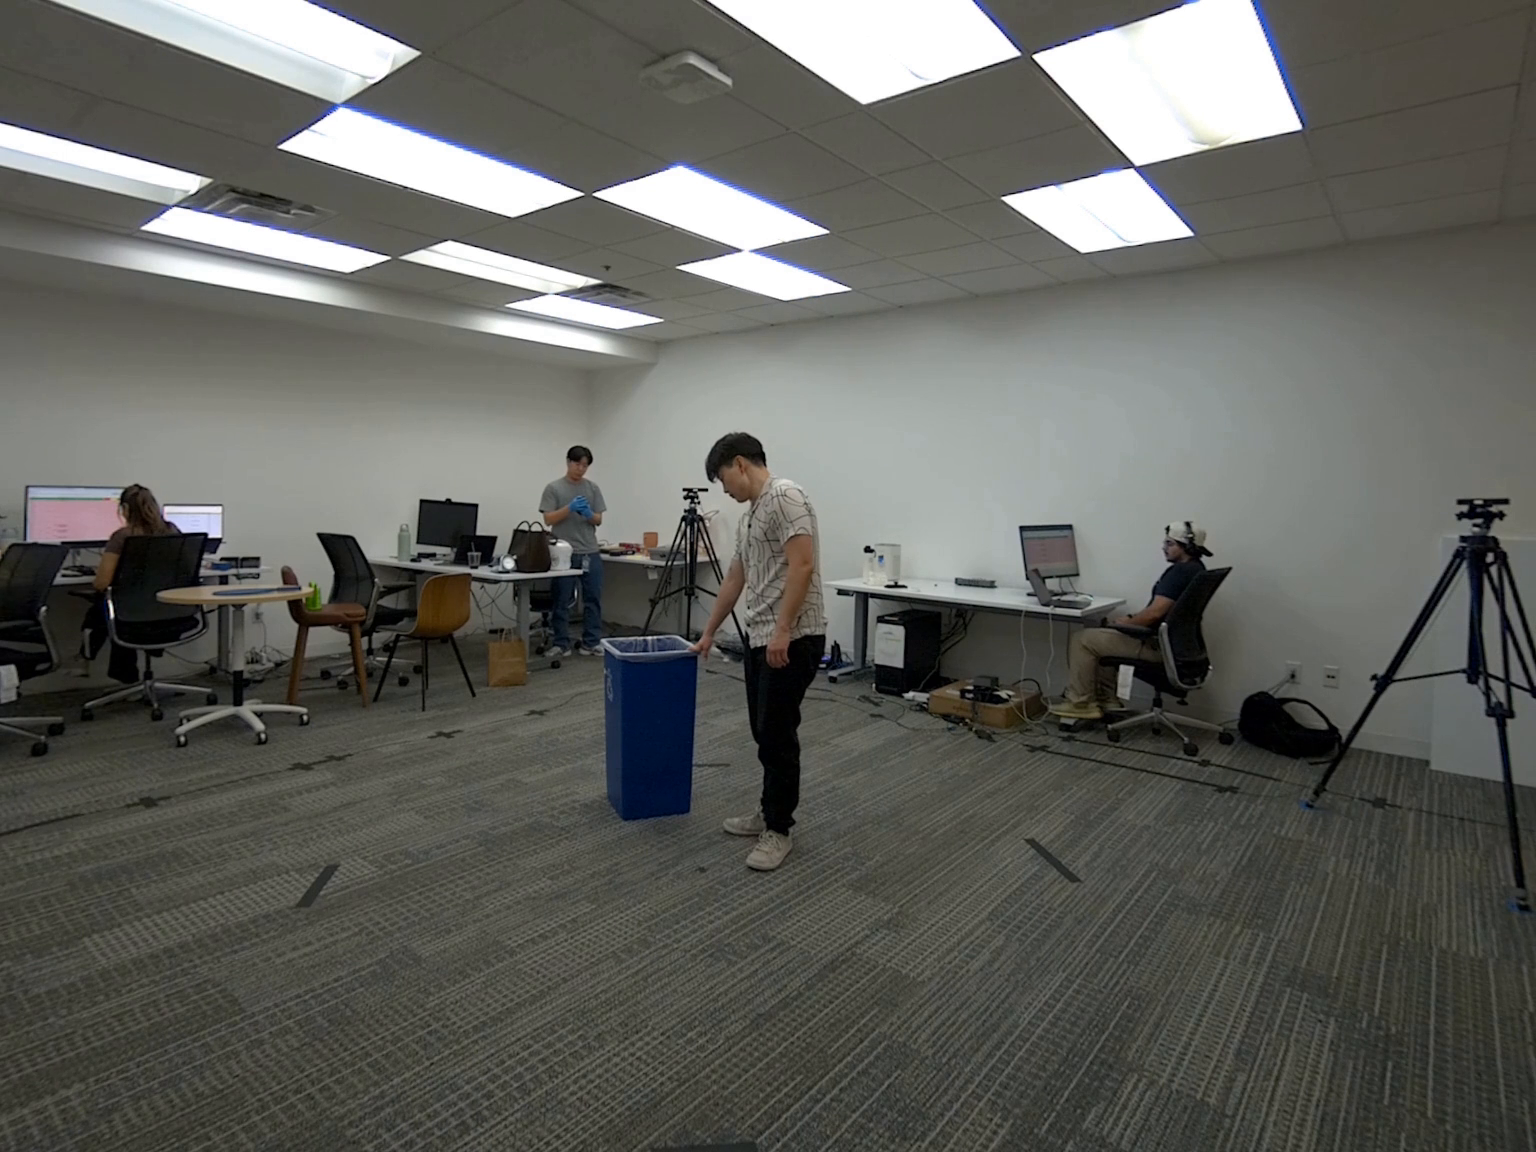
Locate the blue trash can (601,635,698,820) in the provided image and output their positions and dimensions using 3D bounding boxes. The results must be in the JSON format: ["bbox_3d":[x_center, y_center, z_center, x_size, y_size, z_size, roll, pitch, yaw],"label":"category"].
[{"bbox_3d":[-0.529,0.648,3.718,0.370,0.711,0.383,-1,4,-23],"label":"blue trash can"}]
